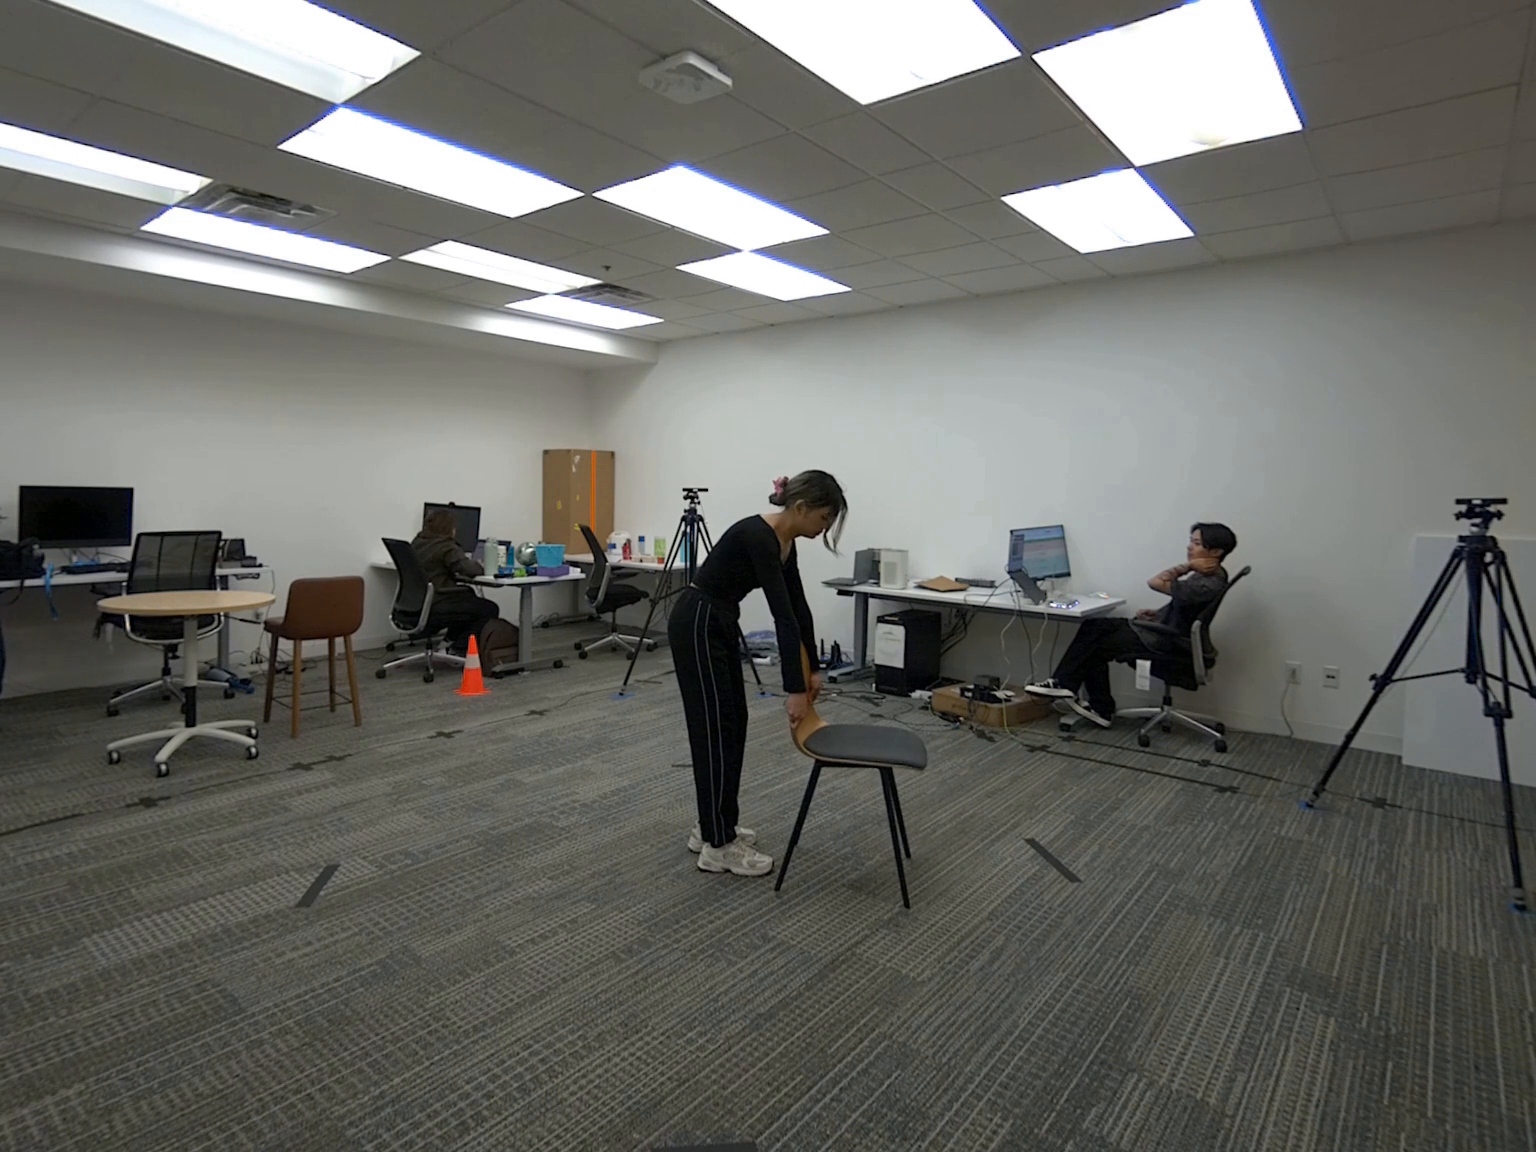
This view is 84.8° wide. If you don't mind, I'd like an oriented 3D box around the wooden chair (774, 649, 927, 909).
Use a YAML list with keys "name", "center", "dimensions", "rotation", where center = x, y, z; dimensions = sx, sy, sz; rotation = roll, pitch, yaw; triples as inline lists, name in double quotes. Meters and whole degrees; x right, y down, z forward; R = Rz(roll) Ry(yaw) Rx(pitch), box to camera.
- name: "wooden chair"
  center: [0.298, 0.649, 3.073]
  dimensions: [0.530, 0.878, 0.472]
  rotation: [-3, 0, 12]
